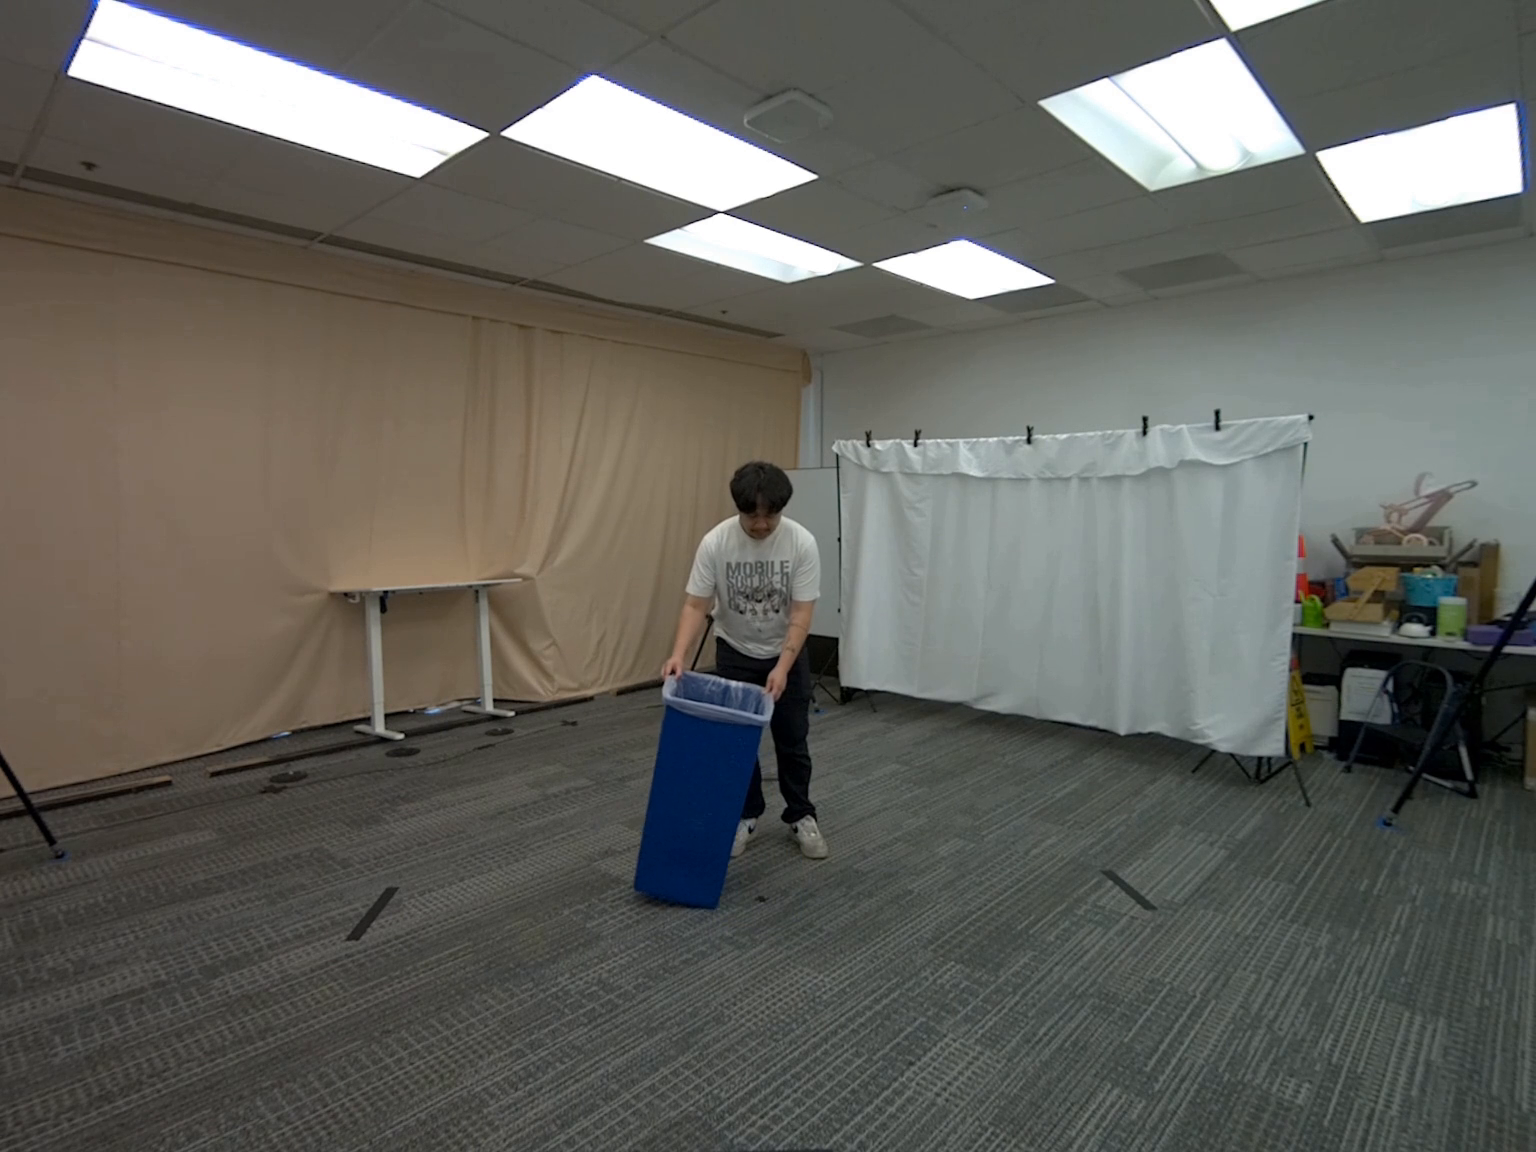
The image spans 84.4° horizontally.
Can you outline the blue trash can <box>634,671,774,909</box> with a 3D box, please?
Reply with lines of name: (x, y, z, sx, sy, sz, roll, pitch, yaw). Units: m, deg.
blue trash can: (-0.237, 0.760, 3.005, 0.378, 0.711, 0.376, 11, 7, -2)
